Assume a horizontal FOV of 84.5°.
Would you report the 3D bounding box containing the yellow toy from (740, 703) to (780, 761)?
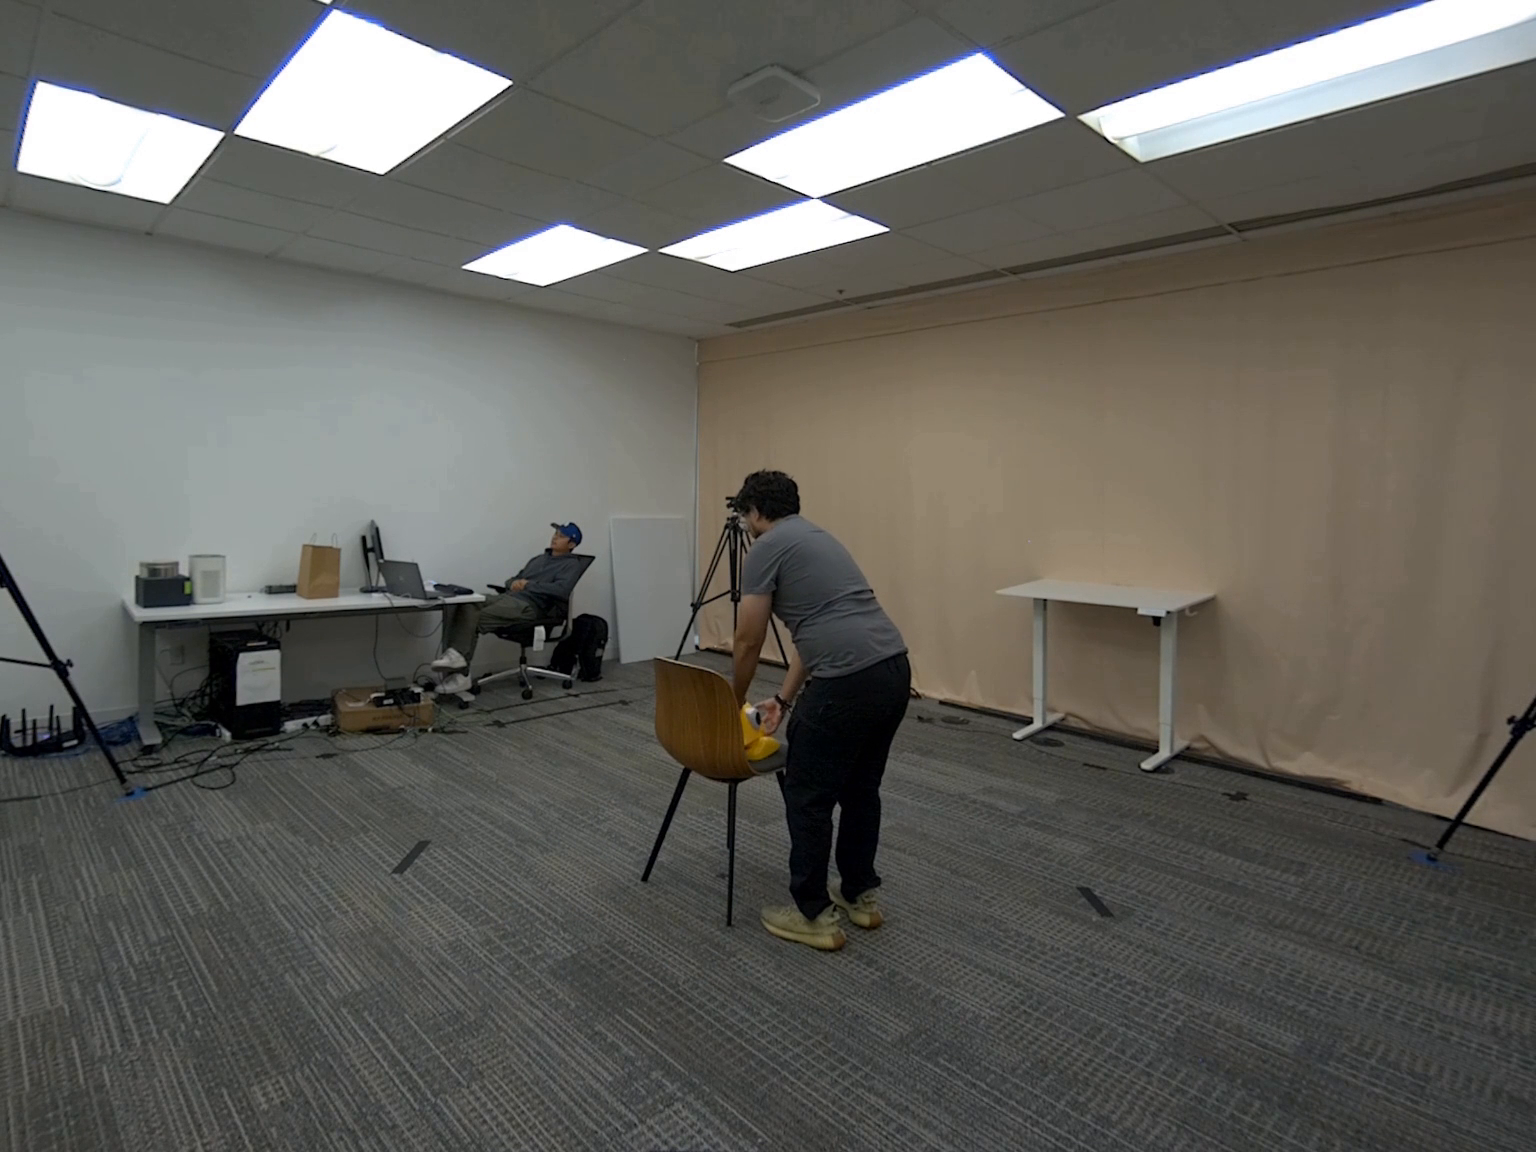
[{"bbox_3d":[-0.090,0.511,3.023,0.190,0.229,0.210,-15,12,-40],"label":"yellow toy"}]
